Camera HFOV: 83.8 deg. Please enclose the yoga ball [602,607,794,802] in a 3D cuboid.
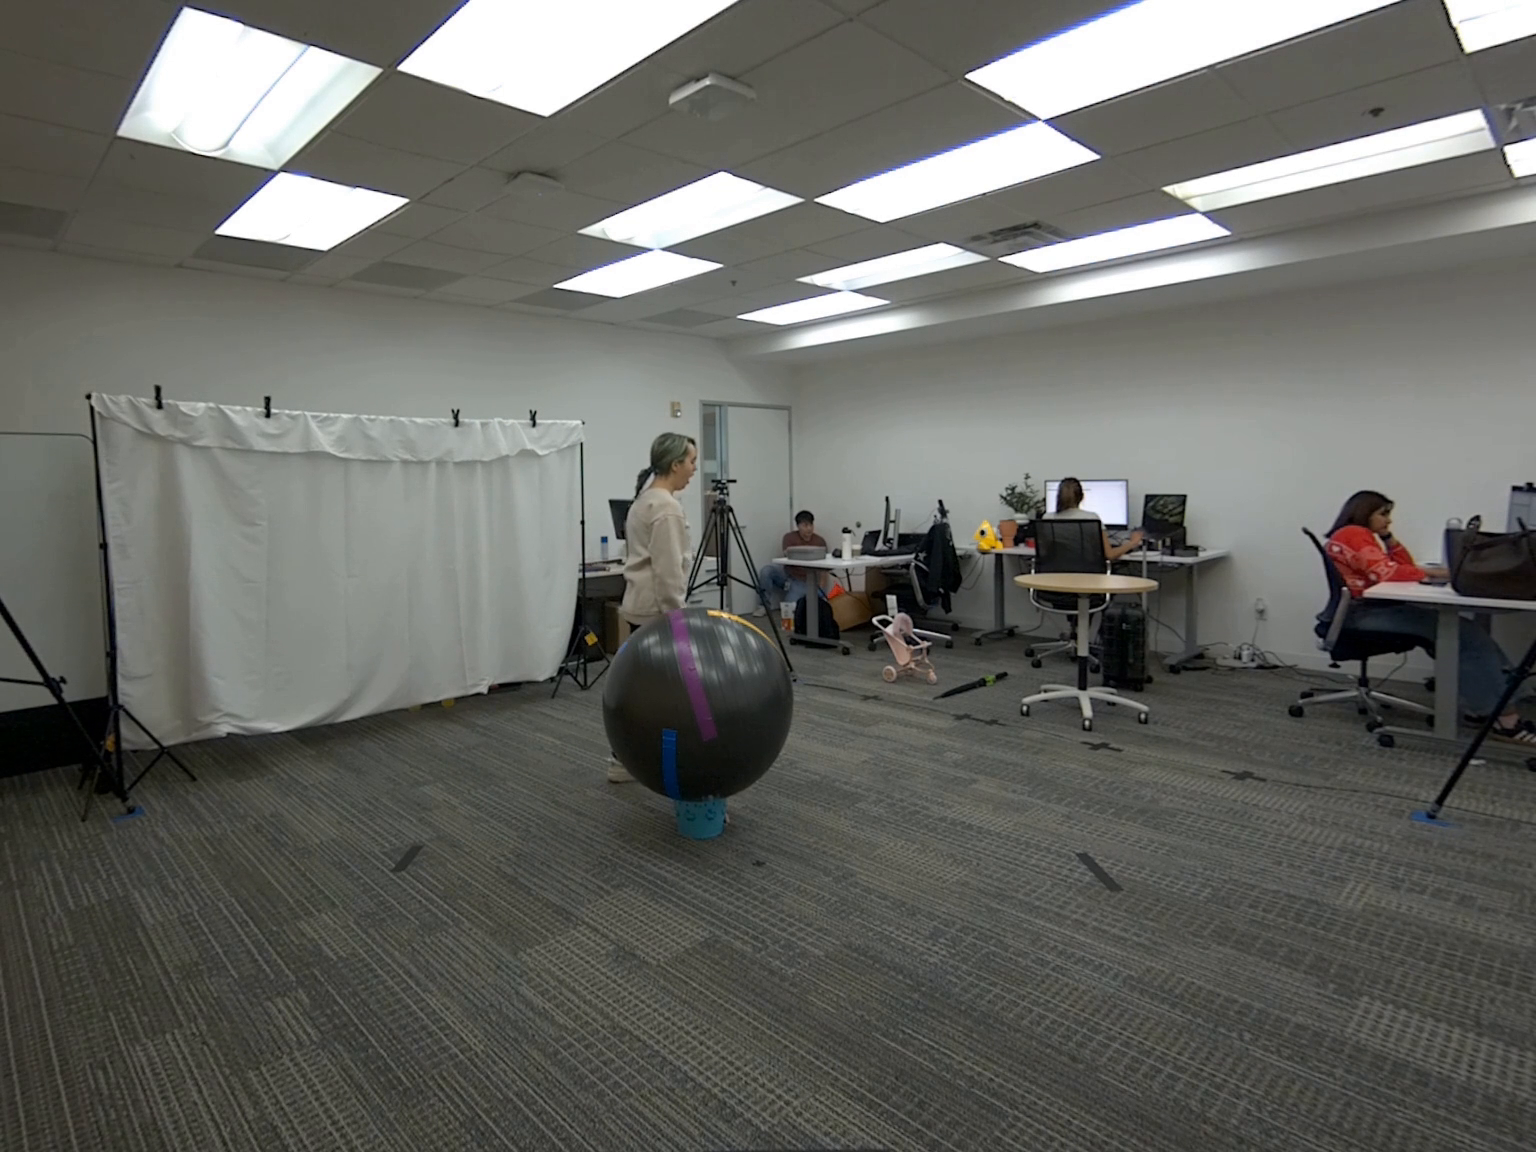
[{"bbox_3d":[-0.277,0.509,3.400,0.757,0.755,0.762,-1,5,-2],"label":"yoga ball"}]
